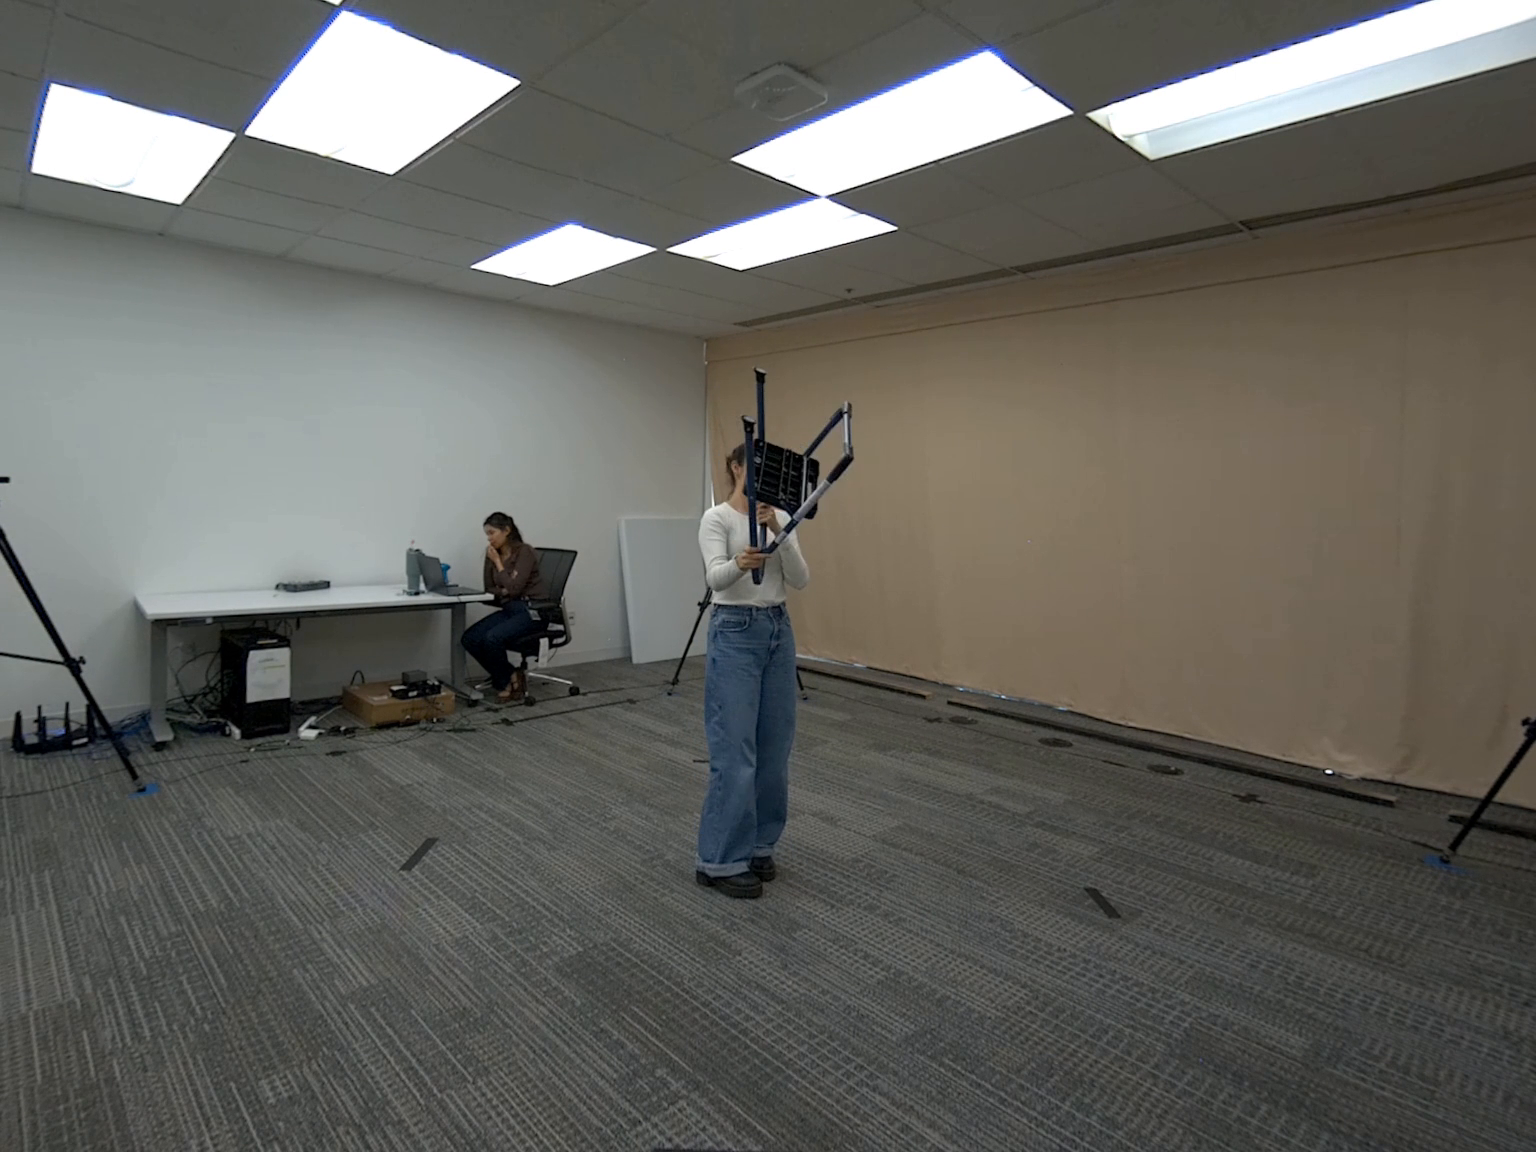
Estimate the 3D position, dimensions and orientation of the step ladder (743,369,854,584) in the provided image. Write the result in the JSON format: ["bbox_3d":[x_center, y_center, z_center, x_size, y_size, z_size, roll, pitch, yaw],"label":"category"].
[{"bbox_3d":[-0.001,-0.285,2.763,0.348,0.600,0.437,20,33,-6],"label":"step ladder"}]
